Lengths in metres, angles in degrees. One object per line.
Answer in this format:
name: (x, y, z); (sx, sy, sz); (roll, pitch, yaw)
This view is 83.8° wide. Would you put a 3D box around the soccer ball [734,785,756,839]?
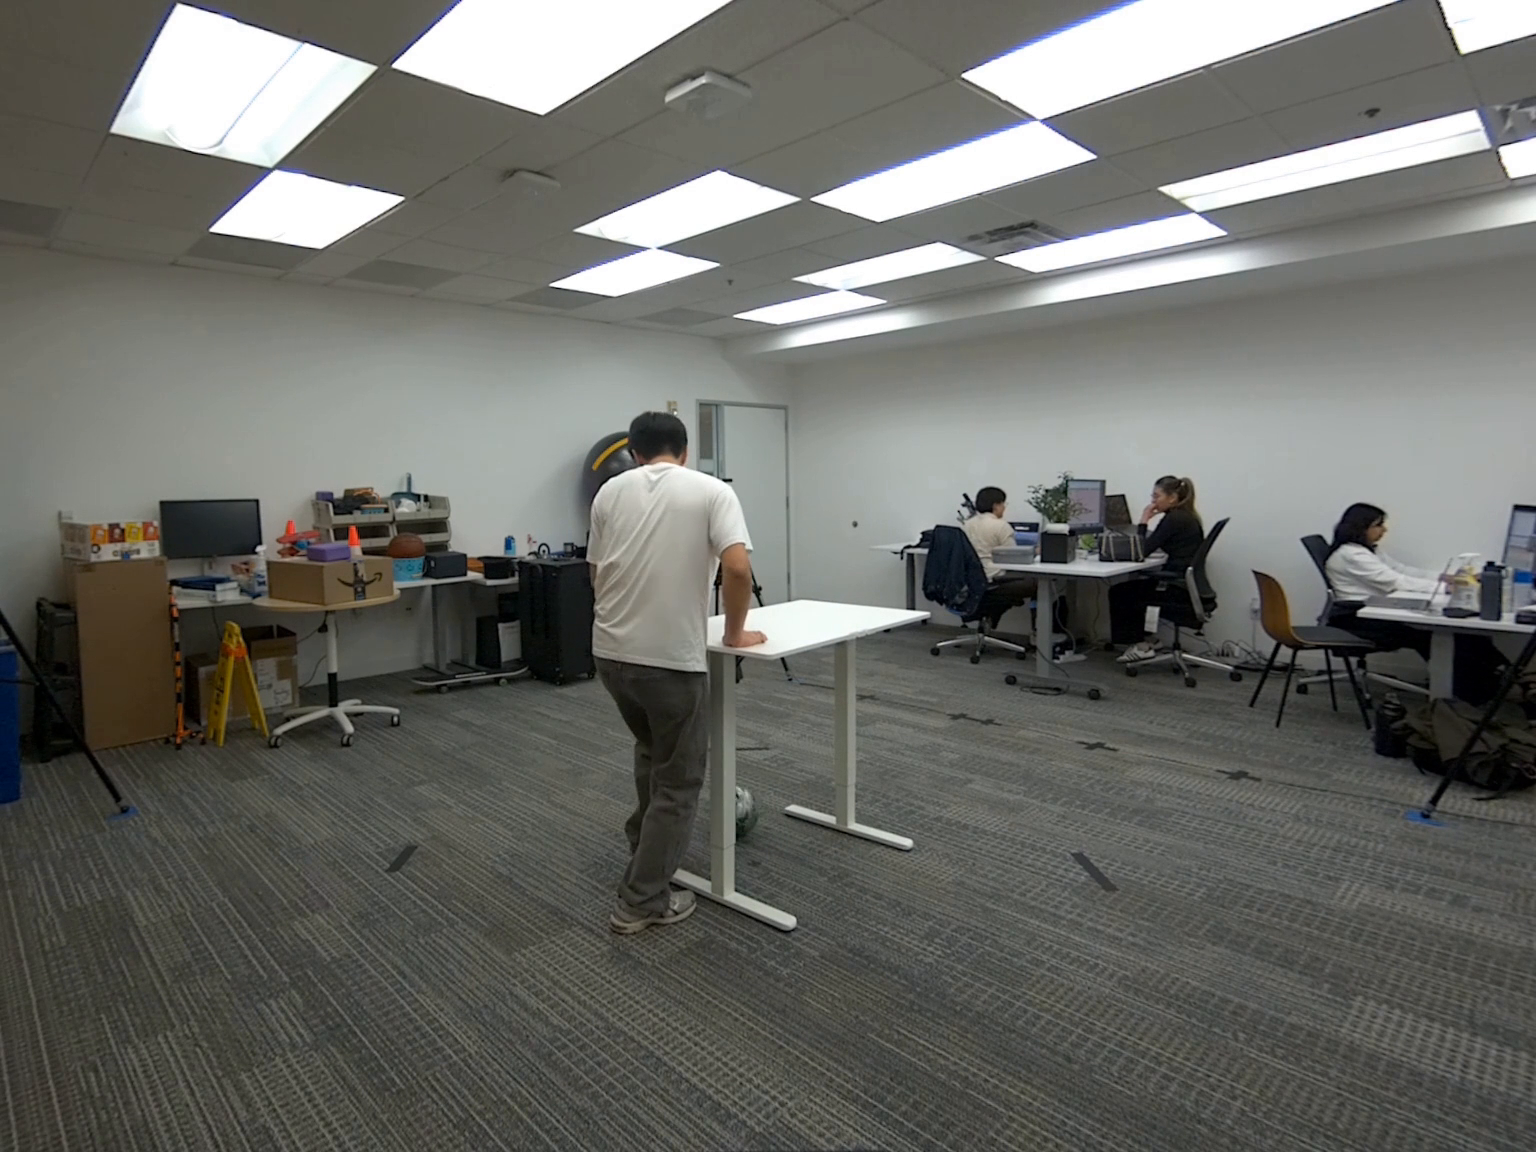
soccer ball: (-0.125, 0.928, 3.370); (0.187, 0.187, 0.188); (-1, 5, -2)
